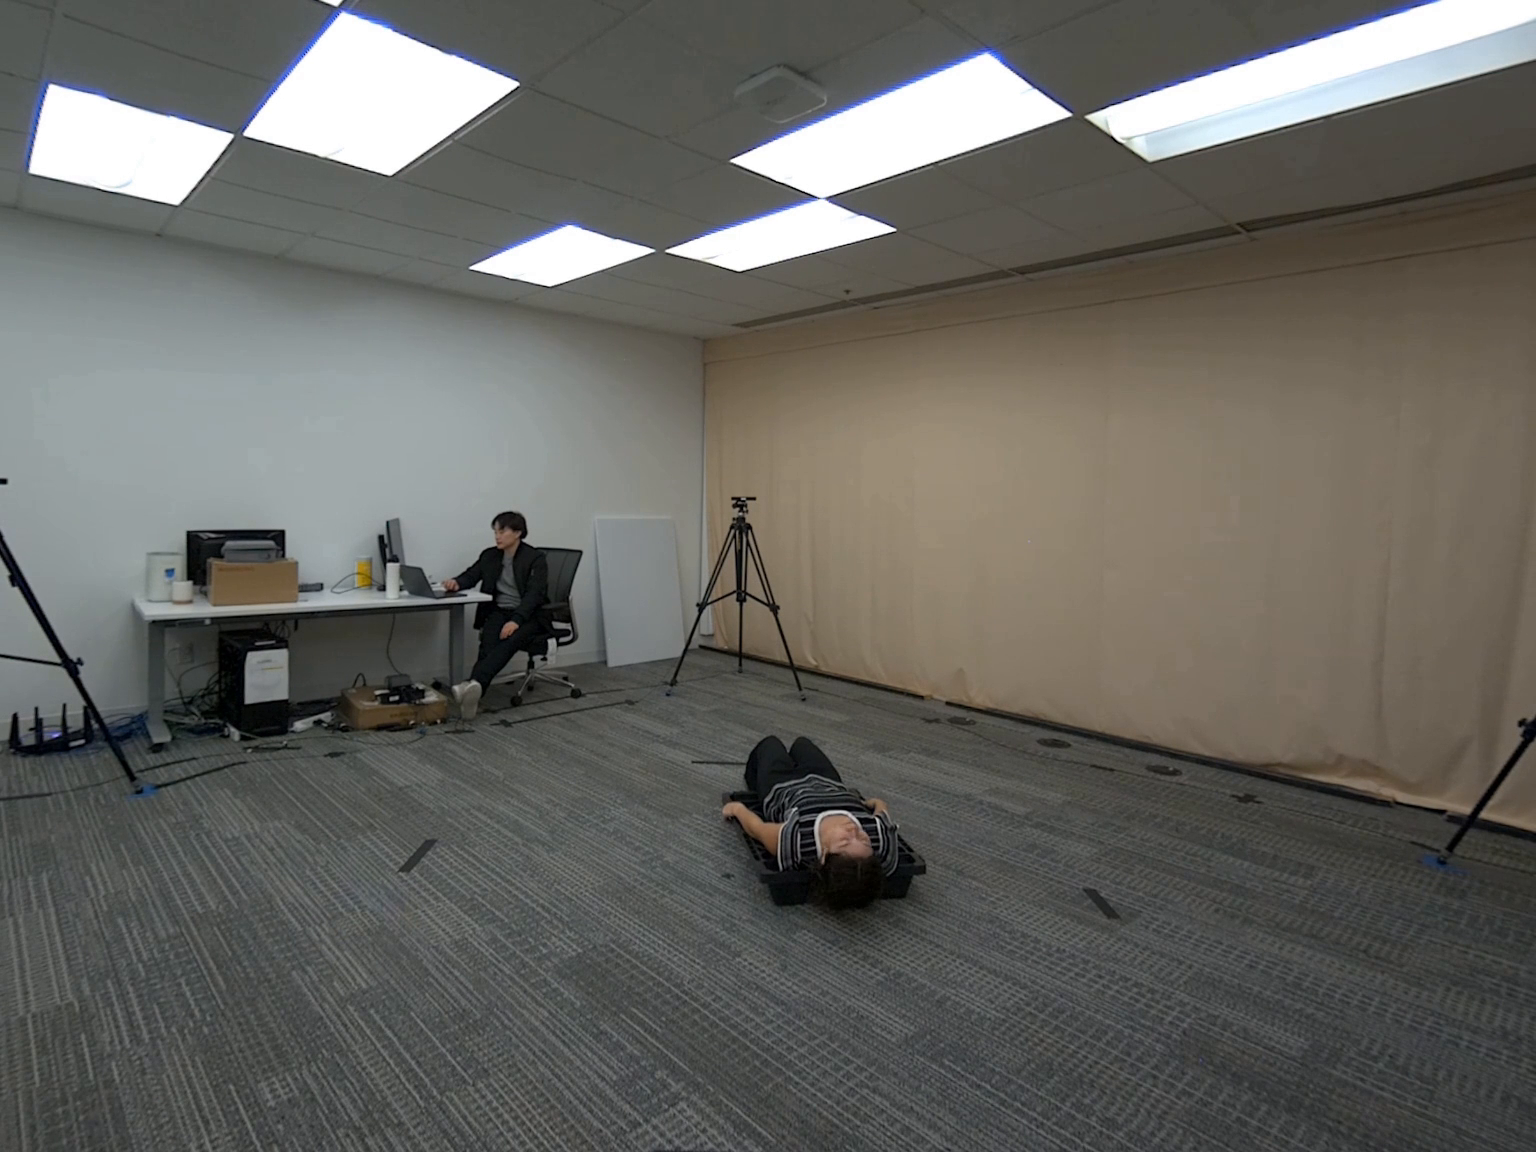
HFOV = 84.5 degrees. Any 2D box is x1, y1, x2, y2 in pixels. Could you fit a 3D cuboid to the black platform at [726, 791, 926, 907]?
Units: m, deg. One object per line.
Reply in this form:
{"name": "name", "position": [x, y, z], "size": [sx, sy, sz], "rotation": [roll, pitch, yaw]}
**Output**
{"name": "black platform", "position": [0.175, 1.037, 3.286], "size": [0.600, 0.143, 0.815], "rotation": [-1, 5, -11]}
